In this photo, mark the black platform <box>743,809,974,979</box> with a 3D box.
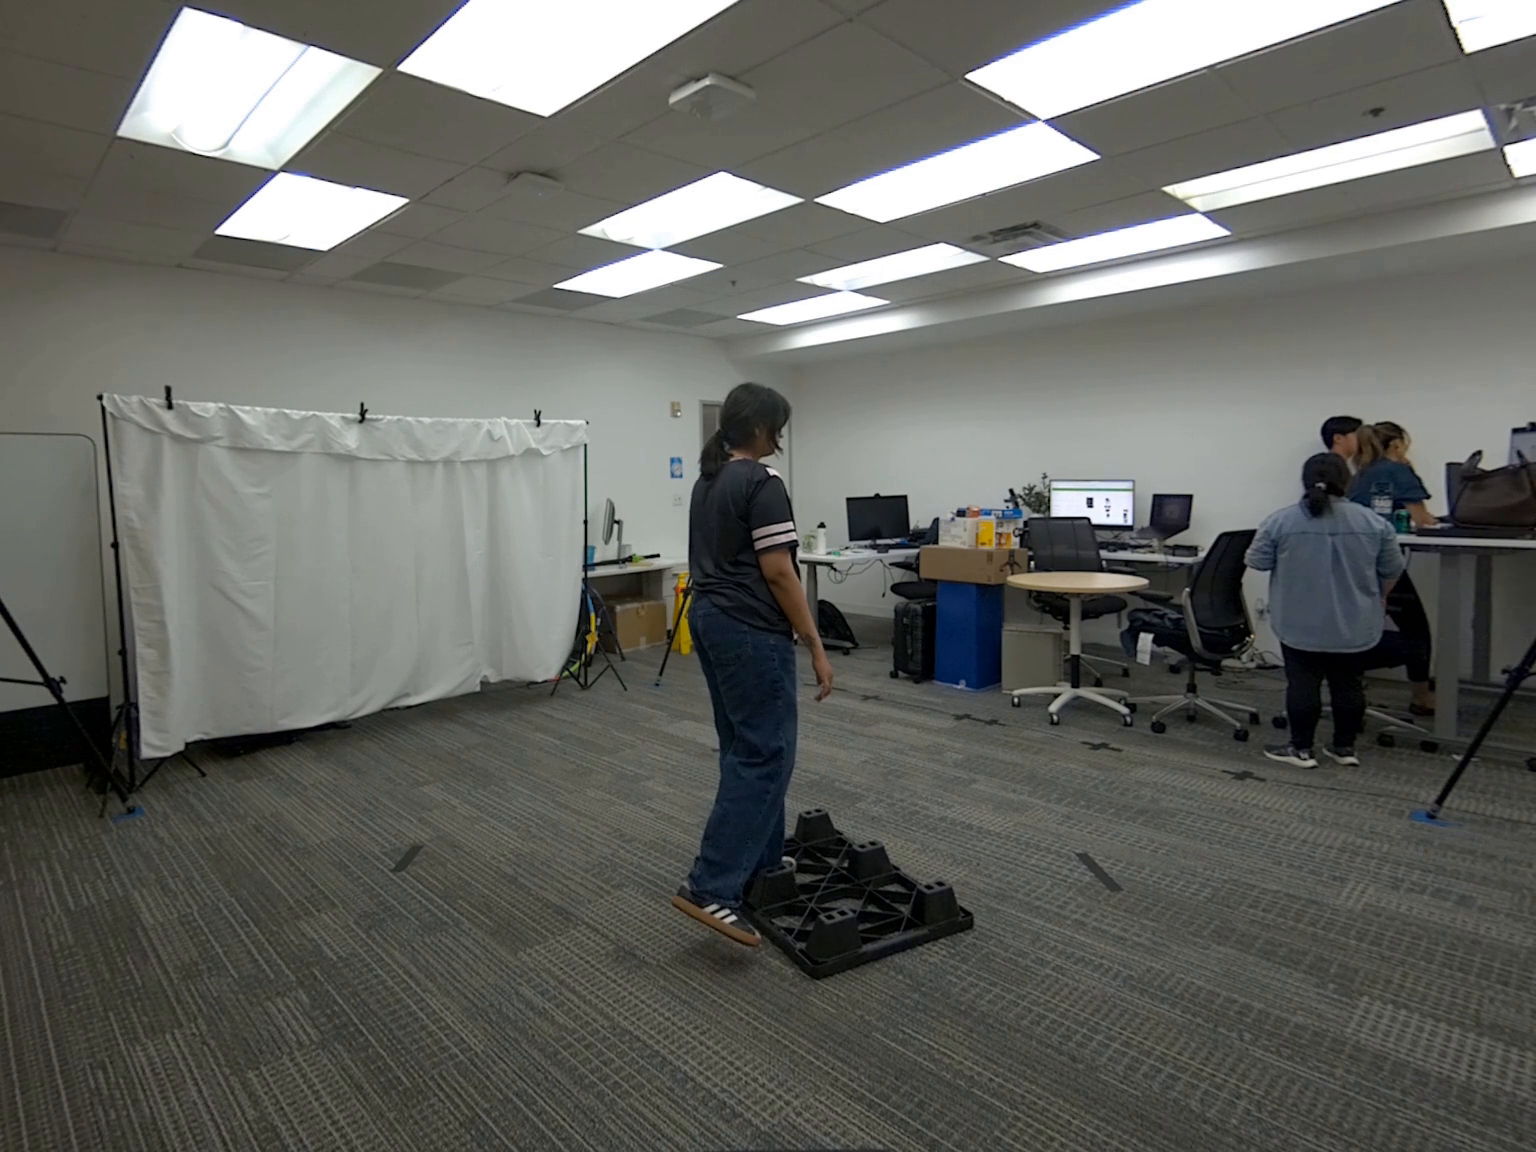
[{"bbox_3d":[0.184,1.007,2.866,0.591,0.143,0.828,-4,7,-29],"label":"black platform"}]
